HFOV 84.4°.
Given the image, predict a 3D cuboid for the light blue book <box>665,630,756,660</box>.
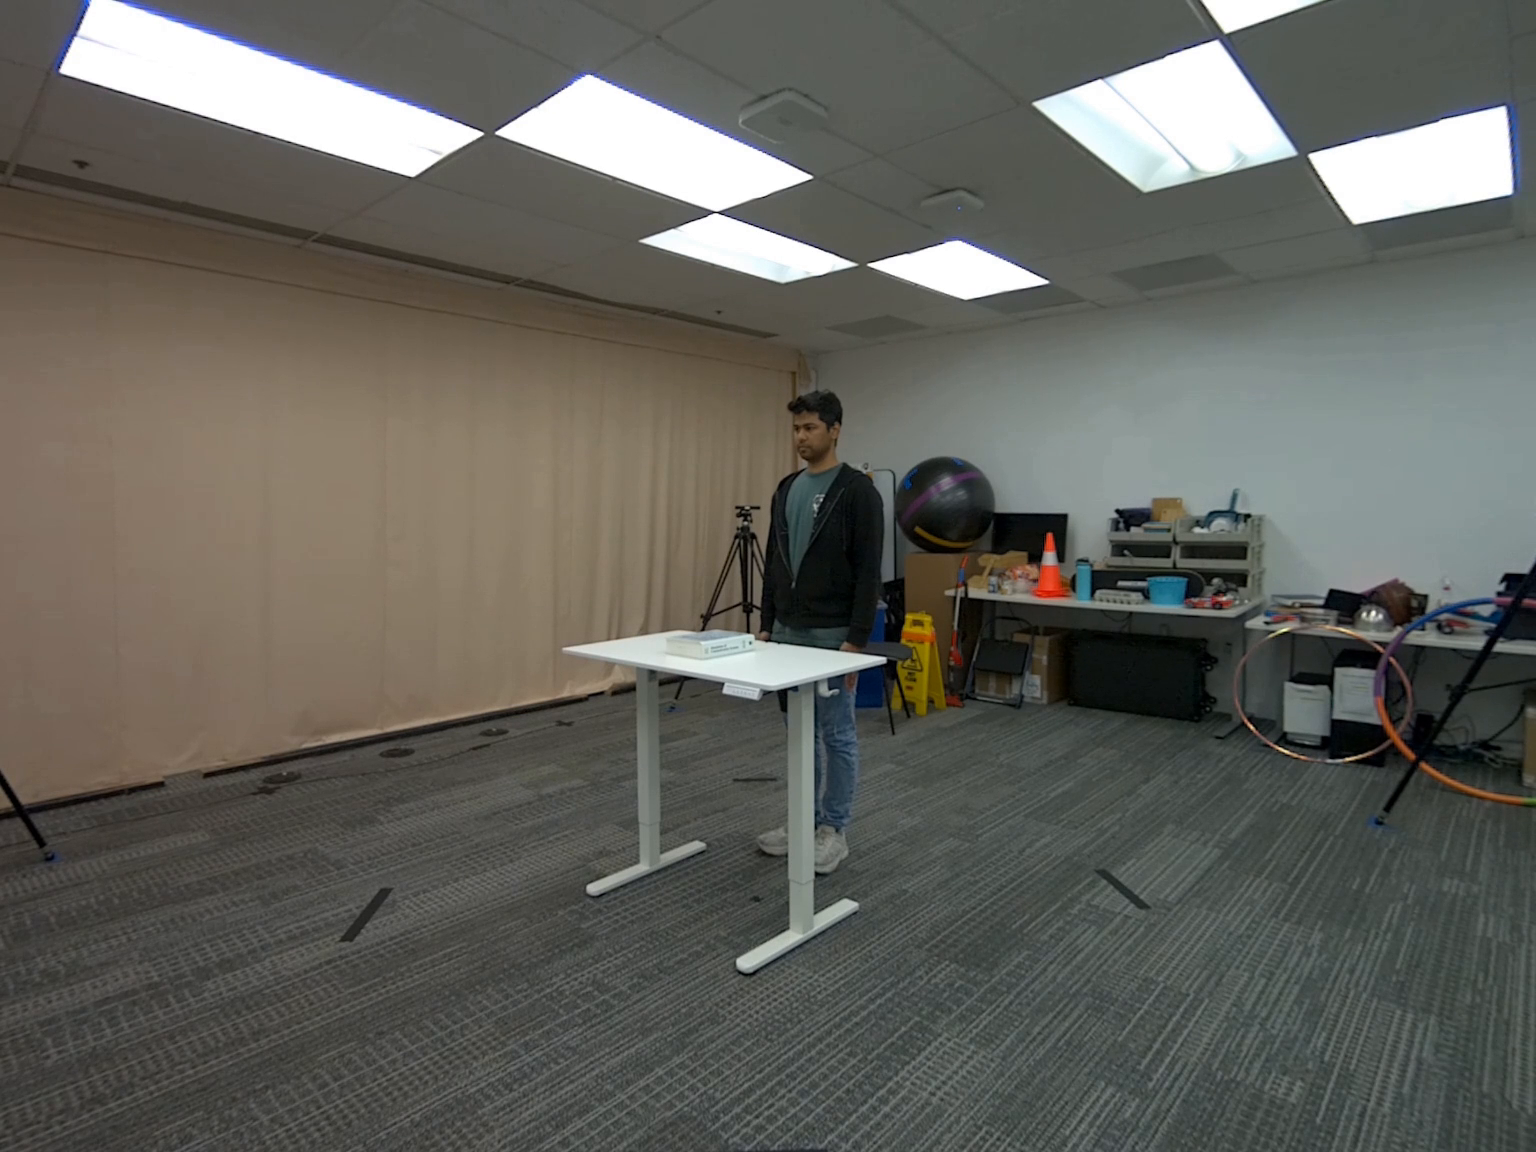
[{"bbox_3d":[-0.207,0.239,2.947,0.198,0.059,0.253,4,6,42],"label":"light blue book"}]
